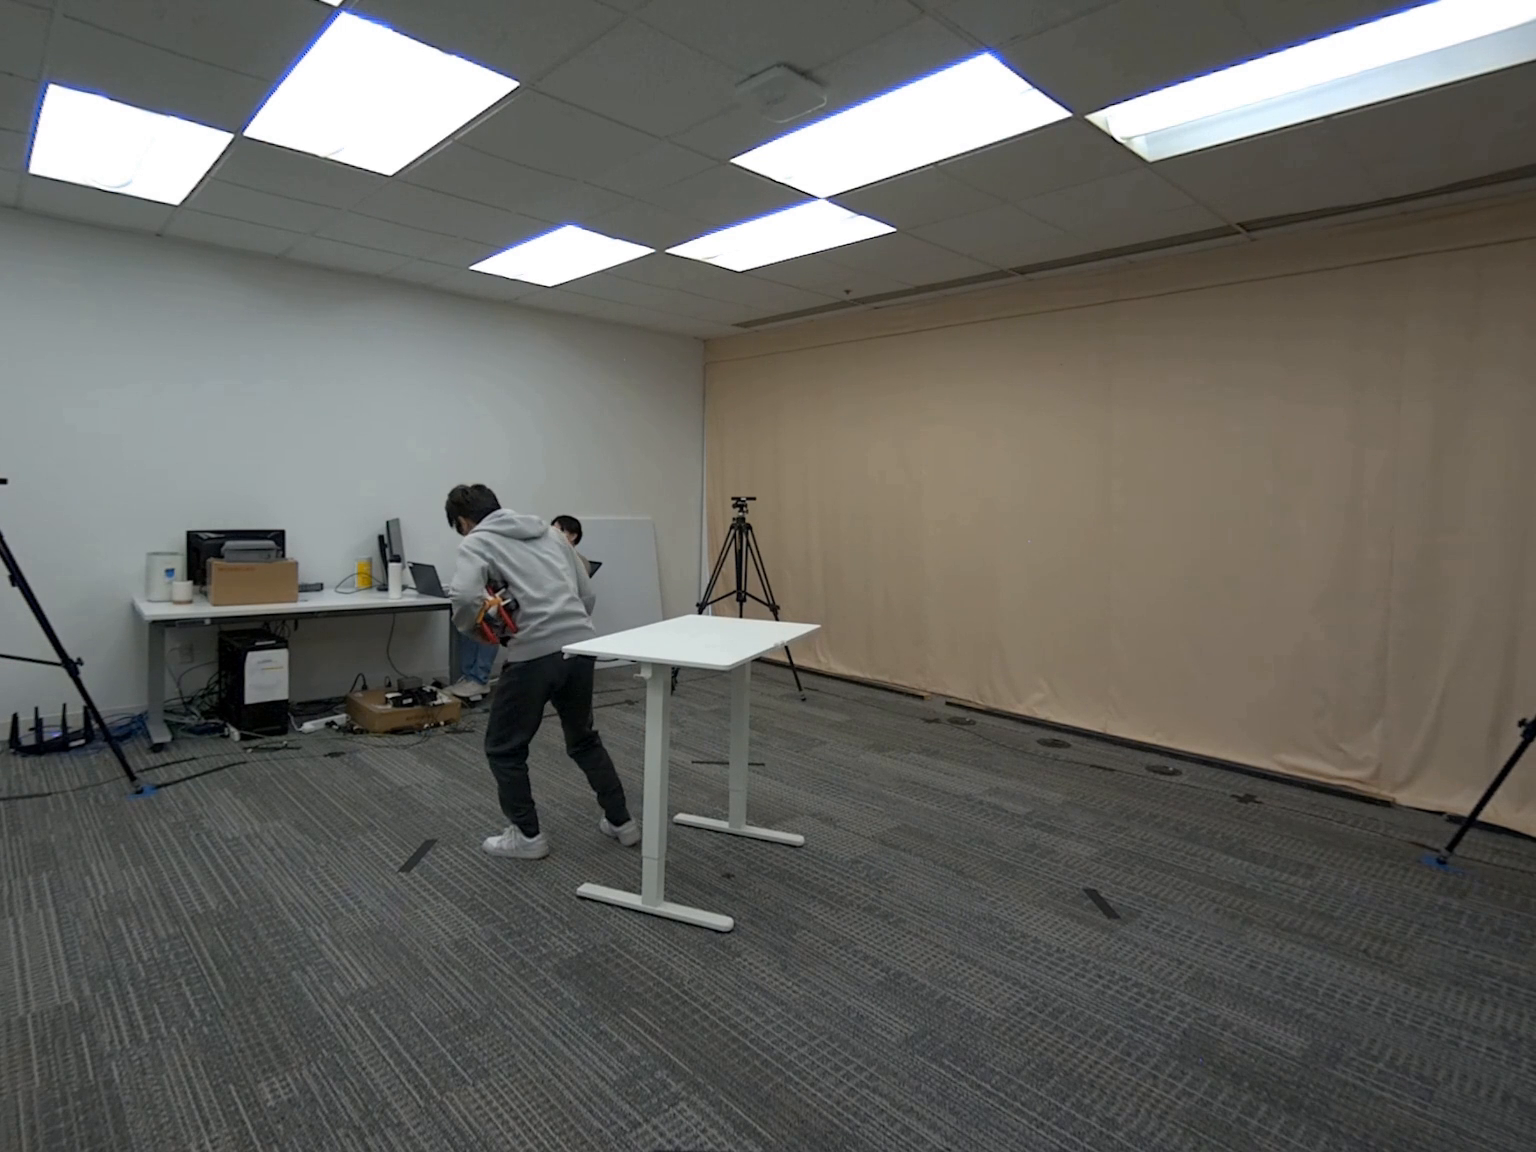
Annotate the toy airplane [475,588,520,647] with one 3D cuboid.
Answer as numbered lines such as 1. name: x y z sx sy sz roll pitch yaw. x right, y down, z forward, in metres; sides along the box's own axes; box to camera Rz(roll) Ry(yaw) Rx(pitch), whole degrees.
1. toy airplane: -1.023 0.140 3.131 0.156 0.260 0.251 -45 -2 -20
